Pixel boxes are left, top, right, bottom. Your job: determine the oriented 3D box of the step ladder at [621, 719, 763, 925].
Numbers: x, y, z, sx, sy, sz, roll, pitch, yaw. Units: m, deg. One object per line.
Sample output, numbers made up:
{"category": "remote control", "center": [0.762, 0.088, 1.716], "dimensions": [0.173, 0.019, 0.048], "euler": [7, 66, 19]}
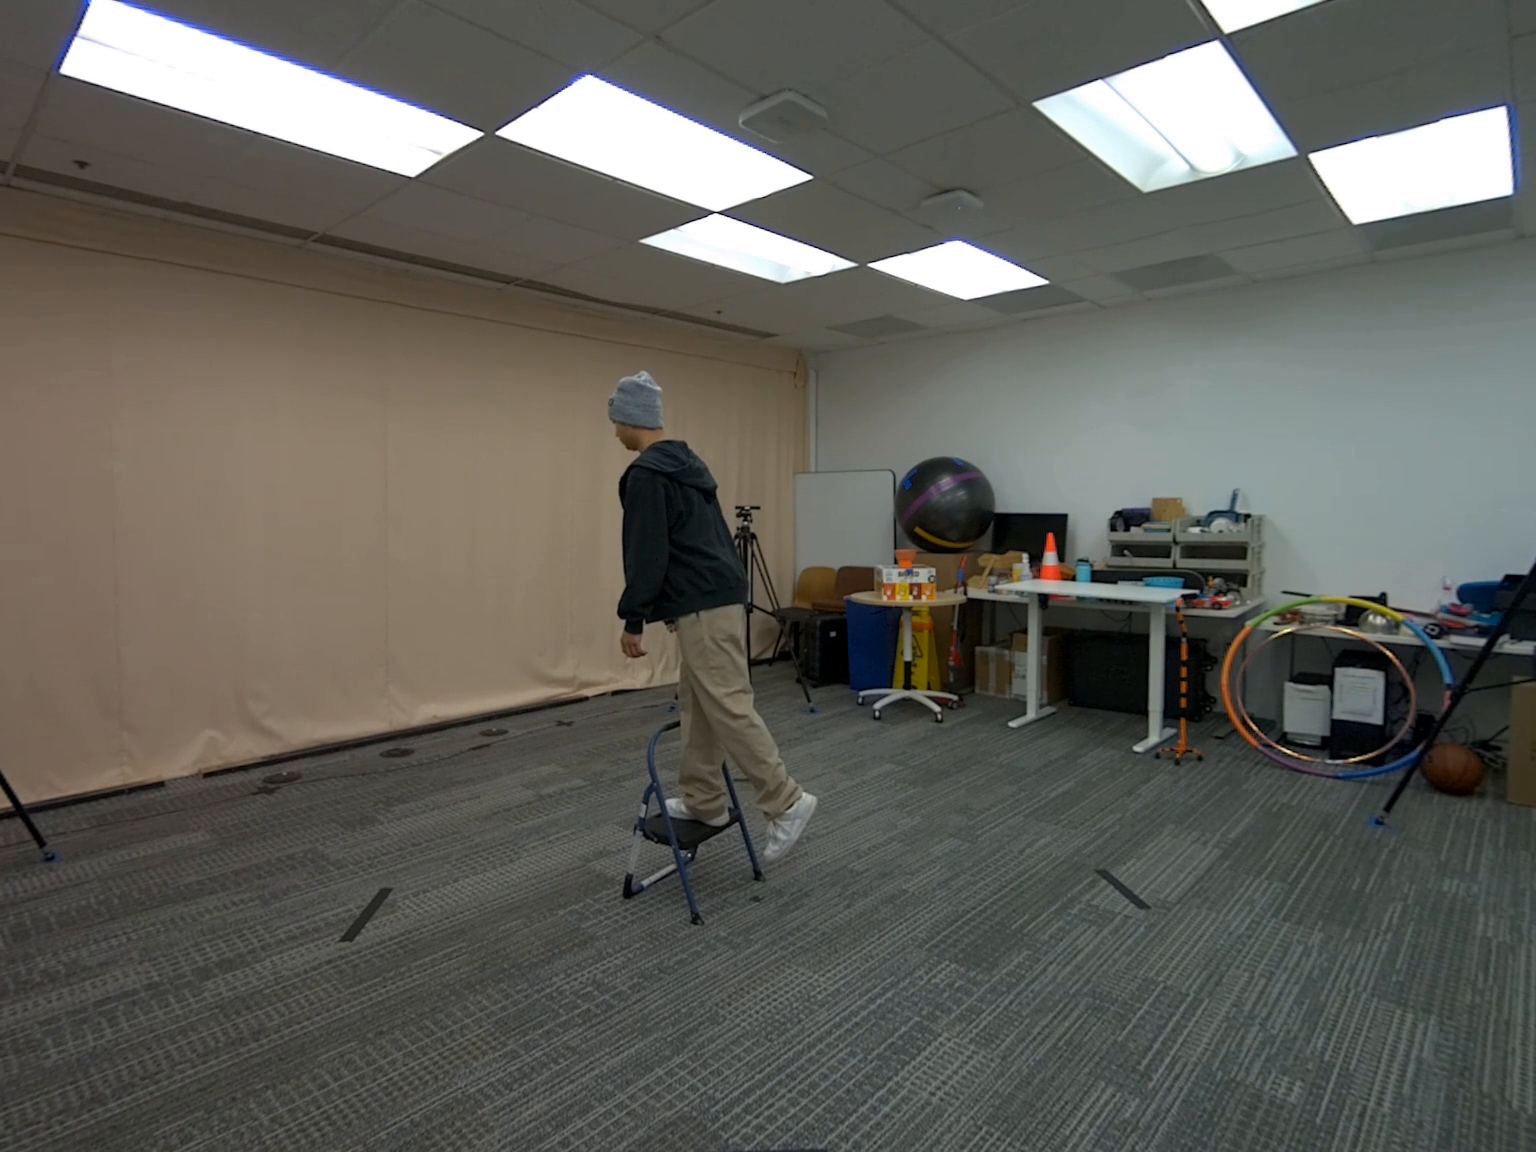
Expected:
{"category": "step ladder", "center": [-0.270, 0.839, 3.053], "dimensions": [0.360, 0.605, 0.419], "euler": [2, 4, 32]}
